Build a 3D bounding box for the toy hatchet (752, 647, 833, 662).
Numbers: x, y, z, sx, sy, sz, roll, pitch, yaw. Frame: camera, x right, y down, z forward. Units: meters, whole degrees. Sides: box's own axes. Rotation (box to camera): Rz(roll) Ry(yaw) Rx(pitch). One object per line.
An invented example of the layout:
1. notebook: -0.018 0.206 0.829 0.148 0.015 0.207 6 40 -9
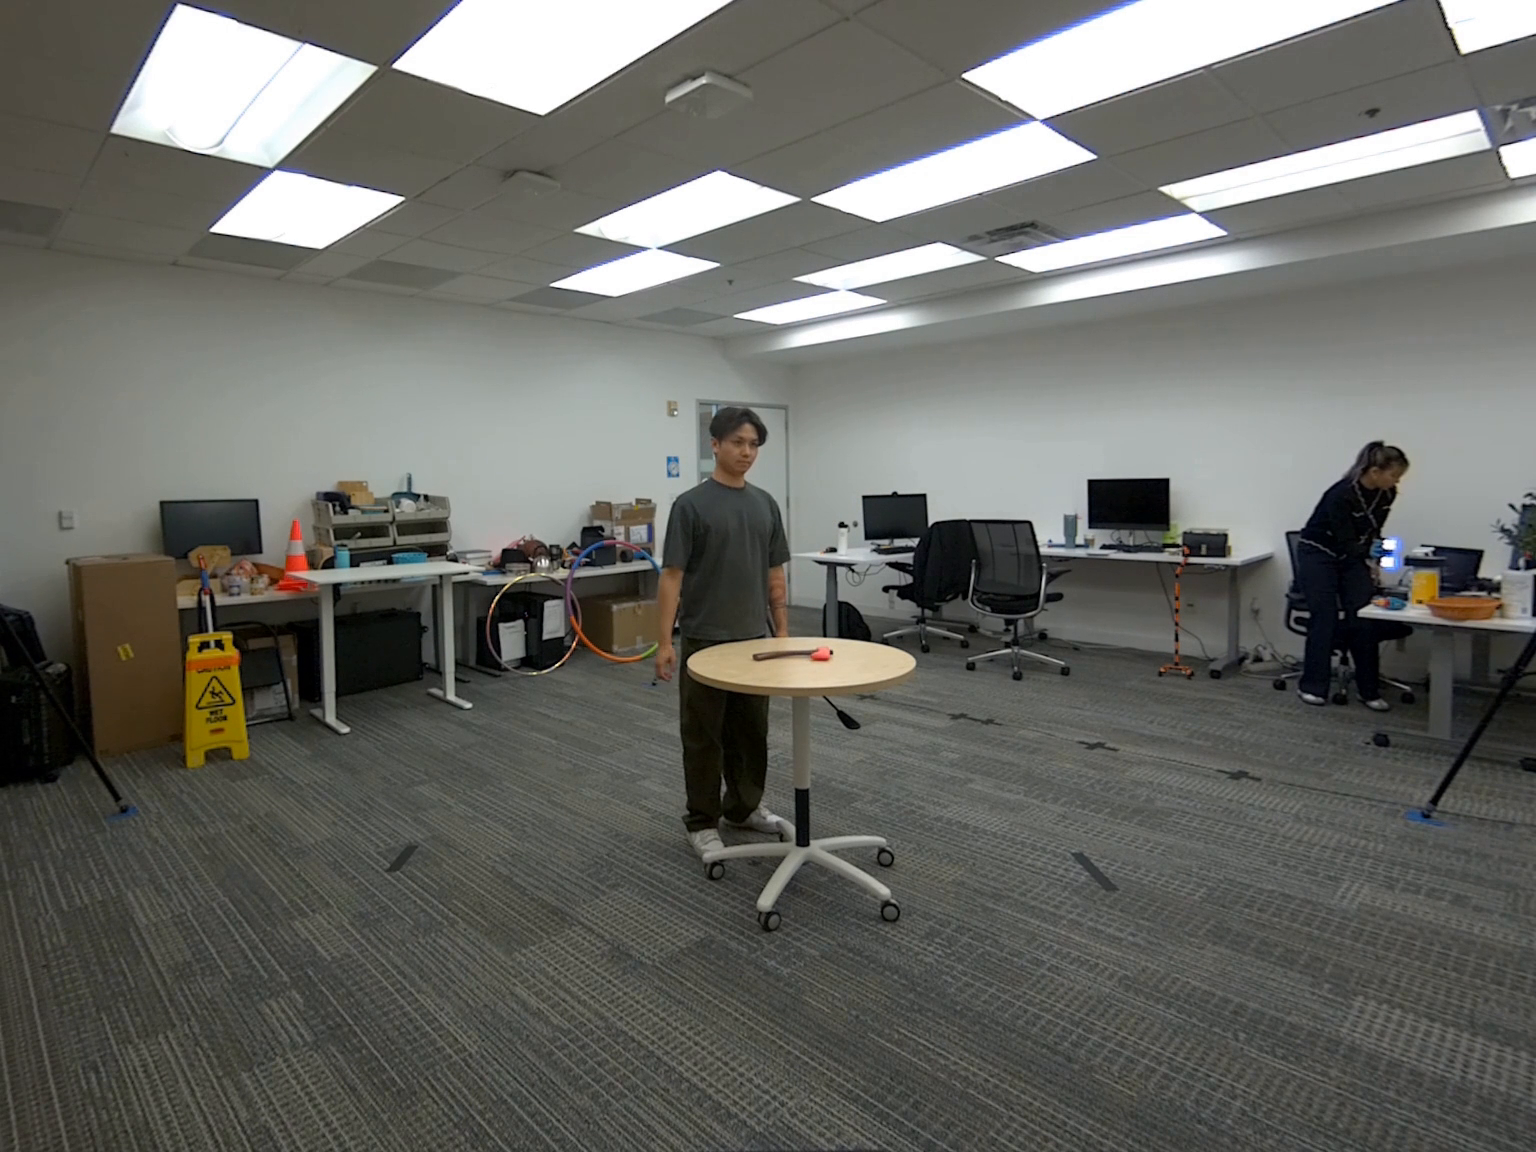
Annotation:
1. toy hatchet: 0.106 0.270 2.892 0.266 0.029 0.134 -5 12 -19
